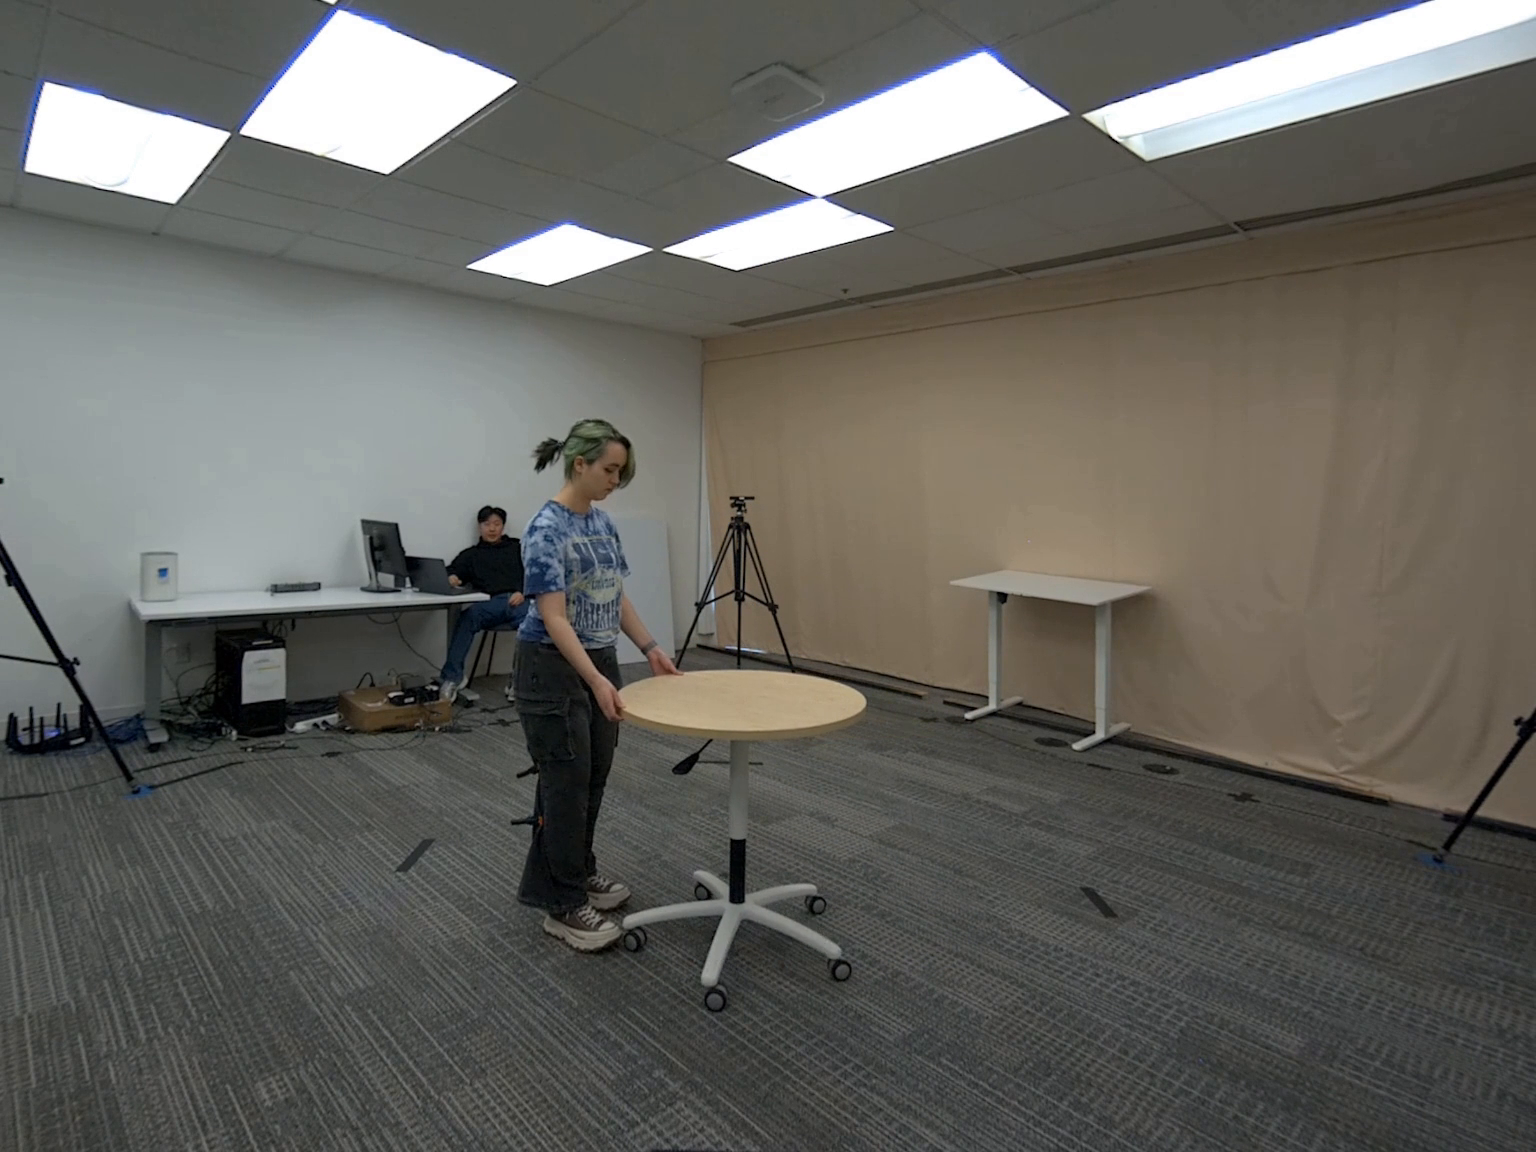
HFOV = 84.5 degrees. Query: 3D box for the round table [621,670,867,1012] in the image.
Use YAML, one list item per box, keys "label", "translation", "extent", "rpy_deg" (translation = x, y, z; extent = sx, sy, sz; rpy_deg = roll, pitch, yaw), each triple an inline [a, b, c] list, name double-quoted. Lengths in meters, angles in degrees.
- label: "round table"
  translation: [-0.087, 0.762, 2.603]
  extent: [0.763, 0.791, 0.767]
  rpy_deg: [1, 4, -1]
